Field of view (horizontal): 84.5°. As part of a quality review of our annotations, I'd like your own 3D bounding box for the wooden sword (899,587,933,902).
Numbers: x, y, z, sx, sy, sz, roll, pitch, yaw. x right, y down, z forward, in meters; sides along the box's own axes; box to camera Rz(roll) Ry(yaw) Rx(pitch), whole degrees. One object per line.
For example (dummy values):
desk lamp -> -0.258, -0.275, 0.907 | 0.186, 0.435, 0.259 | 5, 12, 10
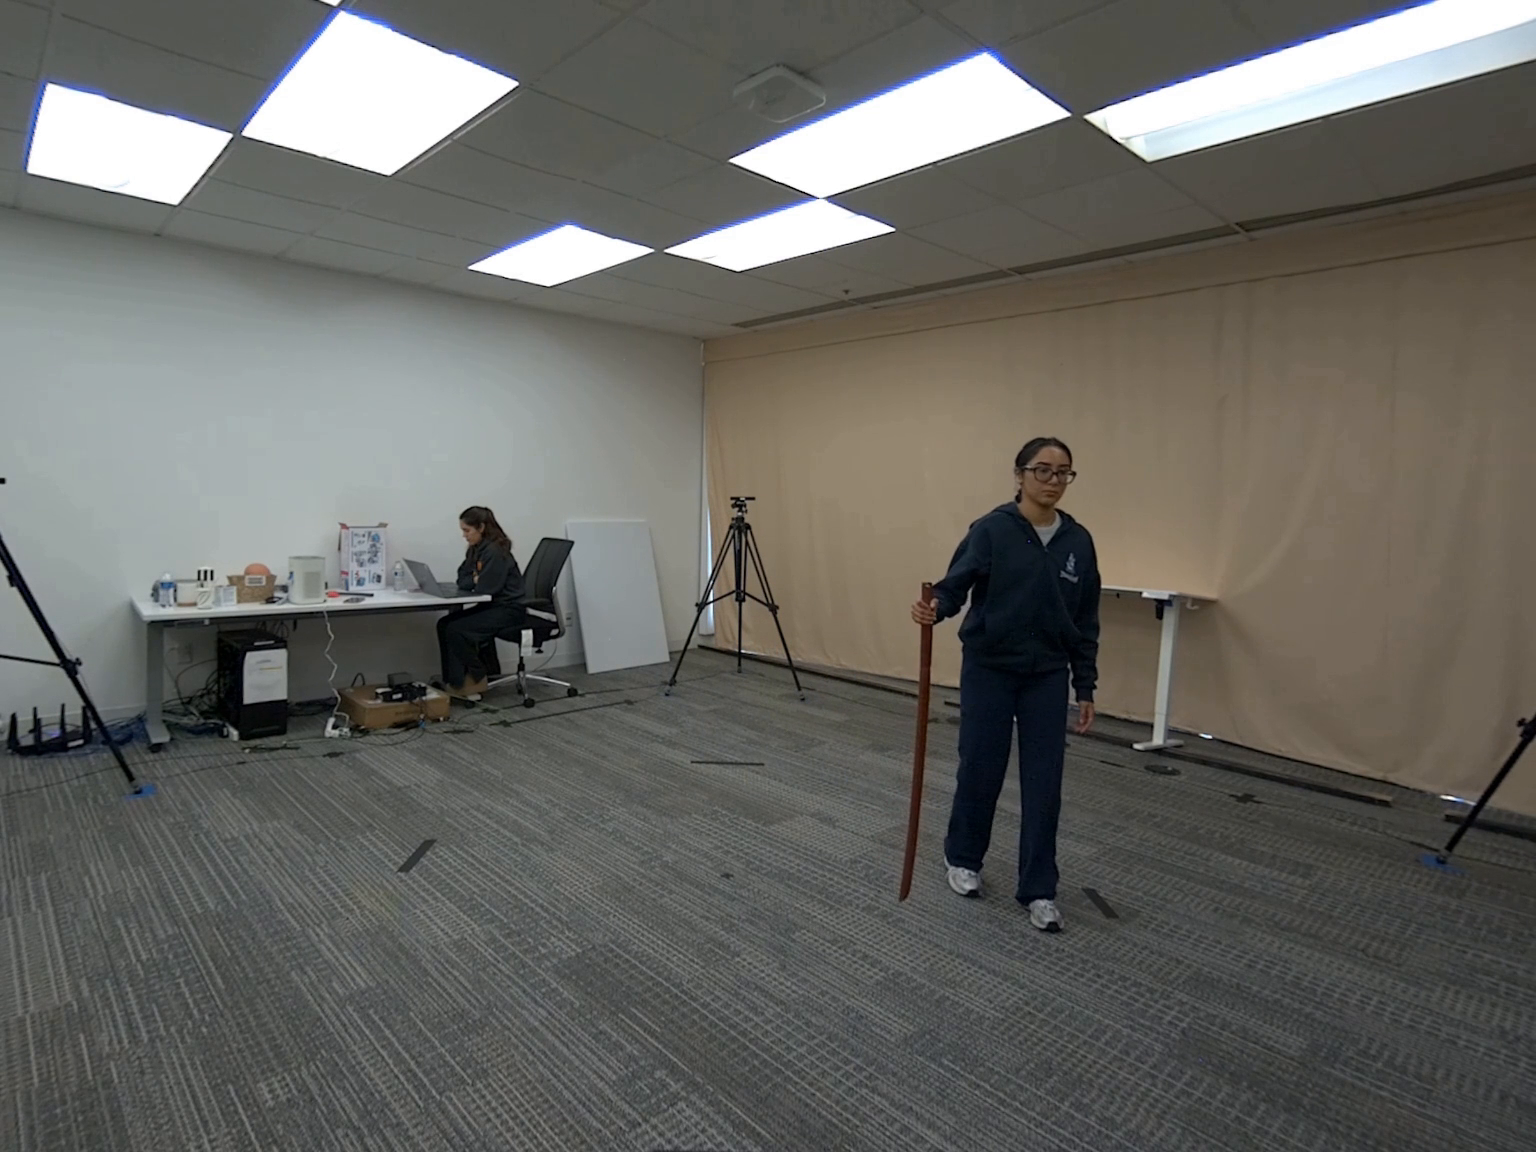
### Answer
wooden sword -> 0.472, 0.574, 2.702 | 0.051, 1.024, 0.024 | 4, 1, -12
